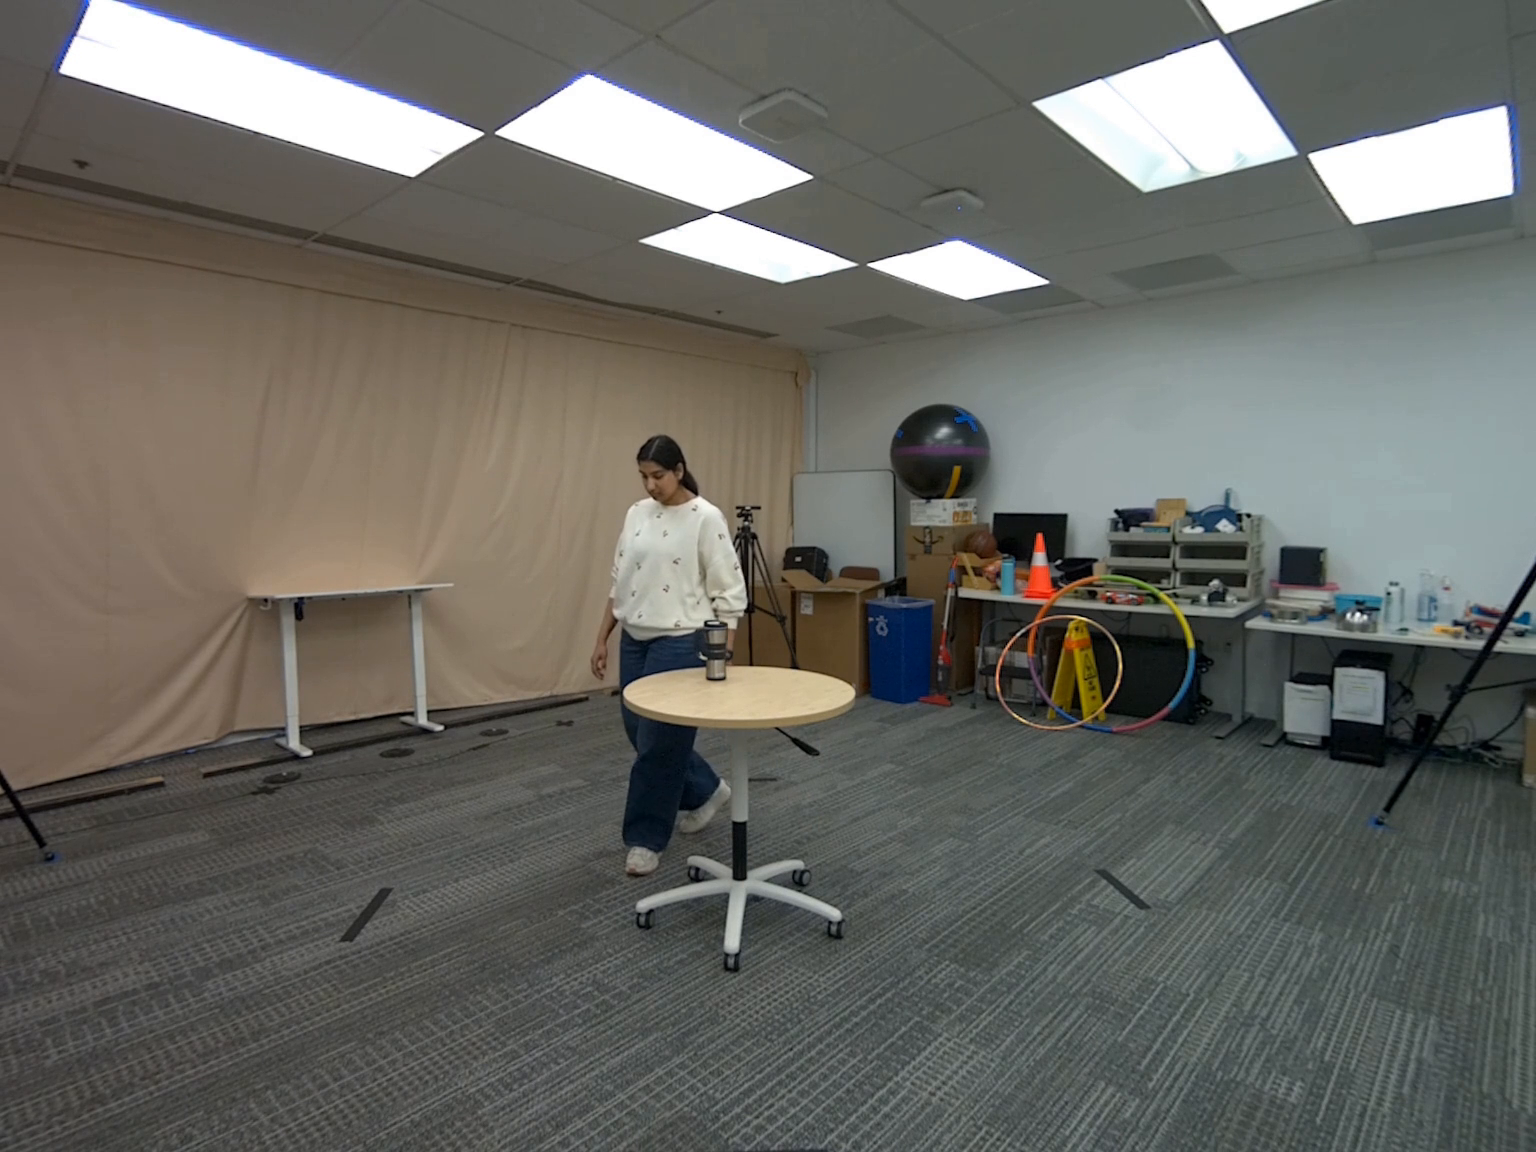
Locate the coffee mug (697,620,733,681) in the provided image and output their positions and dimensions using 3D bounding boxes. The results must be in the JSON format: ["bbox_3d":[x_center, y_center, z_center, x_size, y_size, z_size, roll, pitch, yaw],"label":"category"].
[{"bbox_3d":[-0.160,0.262,2.950,0.121,0.203,0.088,-1,1,-7],"label":"coffee mug"}]
